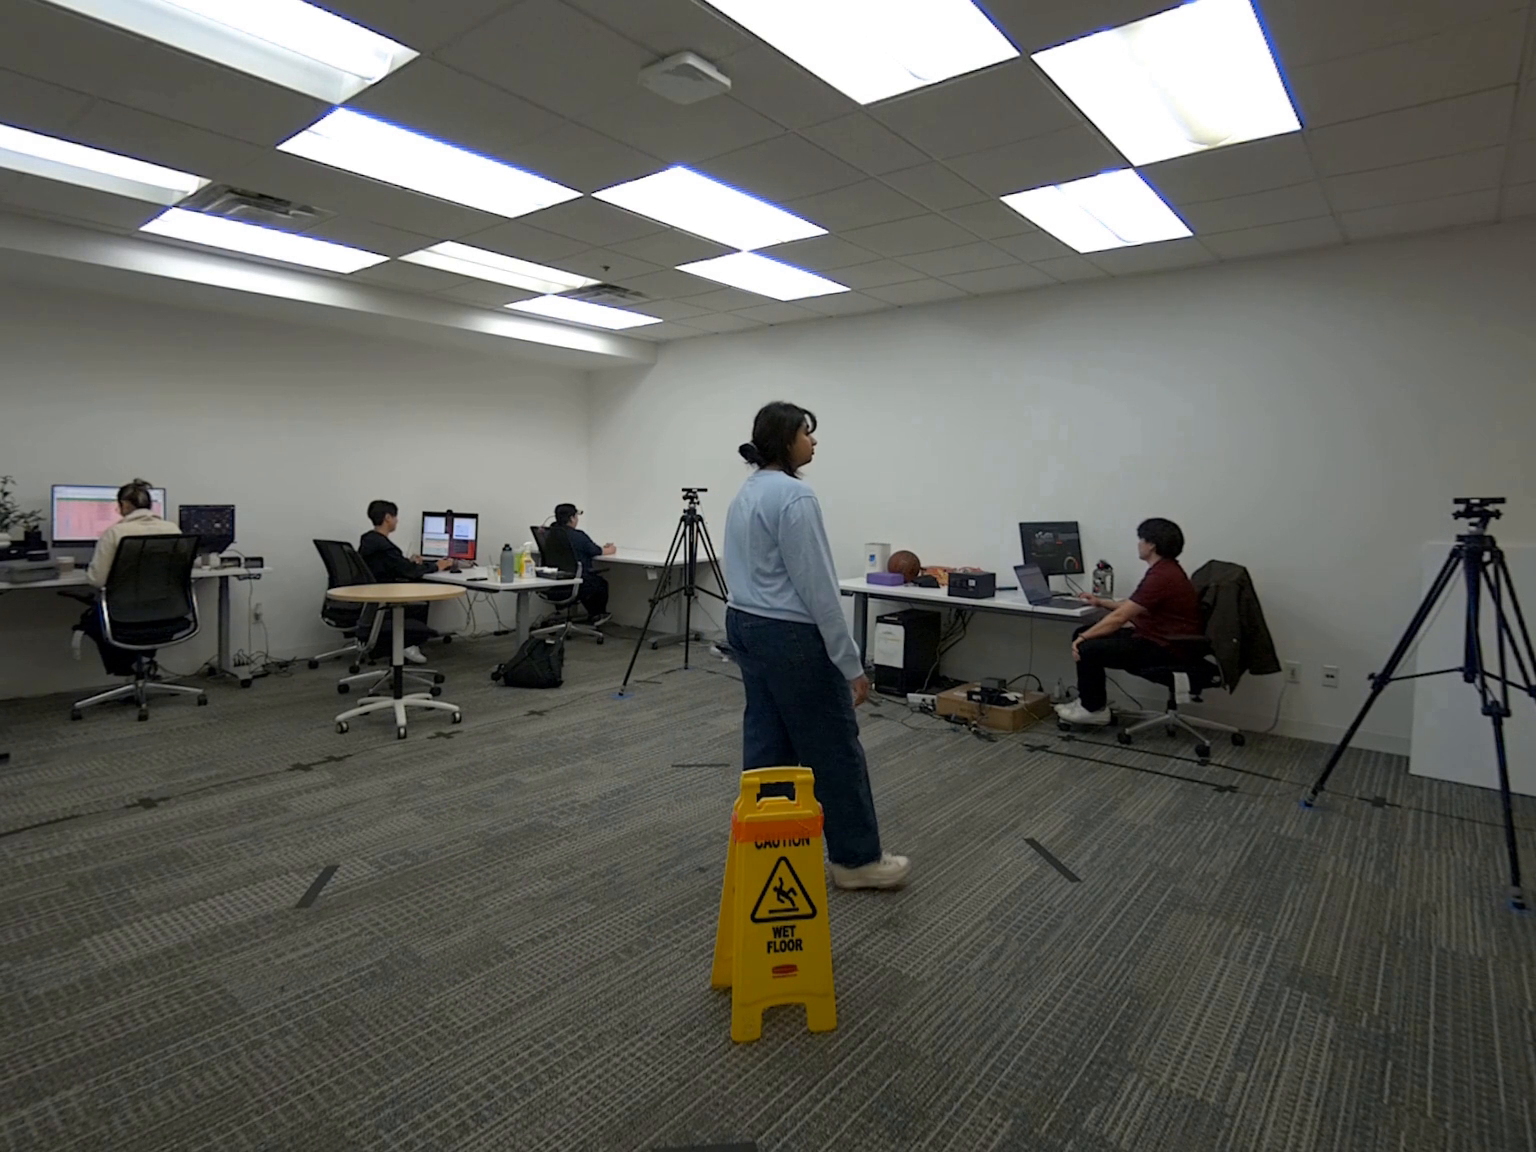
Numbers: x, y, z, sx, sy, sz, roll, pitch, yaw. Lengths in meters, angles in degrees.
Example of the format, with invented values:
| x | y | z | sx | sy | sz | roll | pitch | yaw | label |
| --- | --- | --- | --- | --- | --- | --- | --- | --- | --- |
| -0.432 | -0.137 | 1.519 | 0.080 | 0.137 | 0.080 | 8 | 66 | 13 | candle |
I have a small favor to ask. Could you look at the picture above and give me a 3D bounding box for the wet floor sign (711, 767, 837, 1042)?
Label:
| x | y | z | sx | sy | sz | roll | pitch | yaw | label |
| --- | --- | --- | --- | --- | --- | --- | --- | --- | --- |
| 0.006 | 0.832 | 2.266 | 0.278 | 0.645 | 0.294 | 2 | 2 | -13 | wet floor sign |
